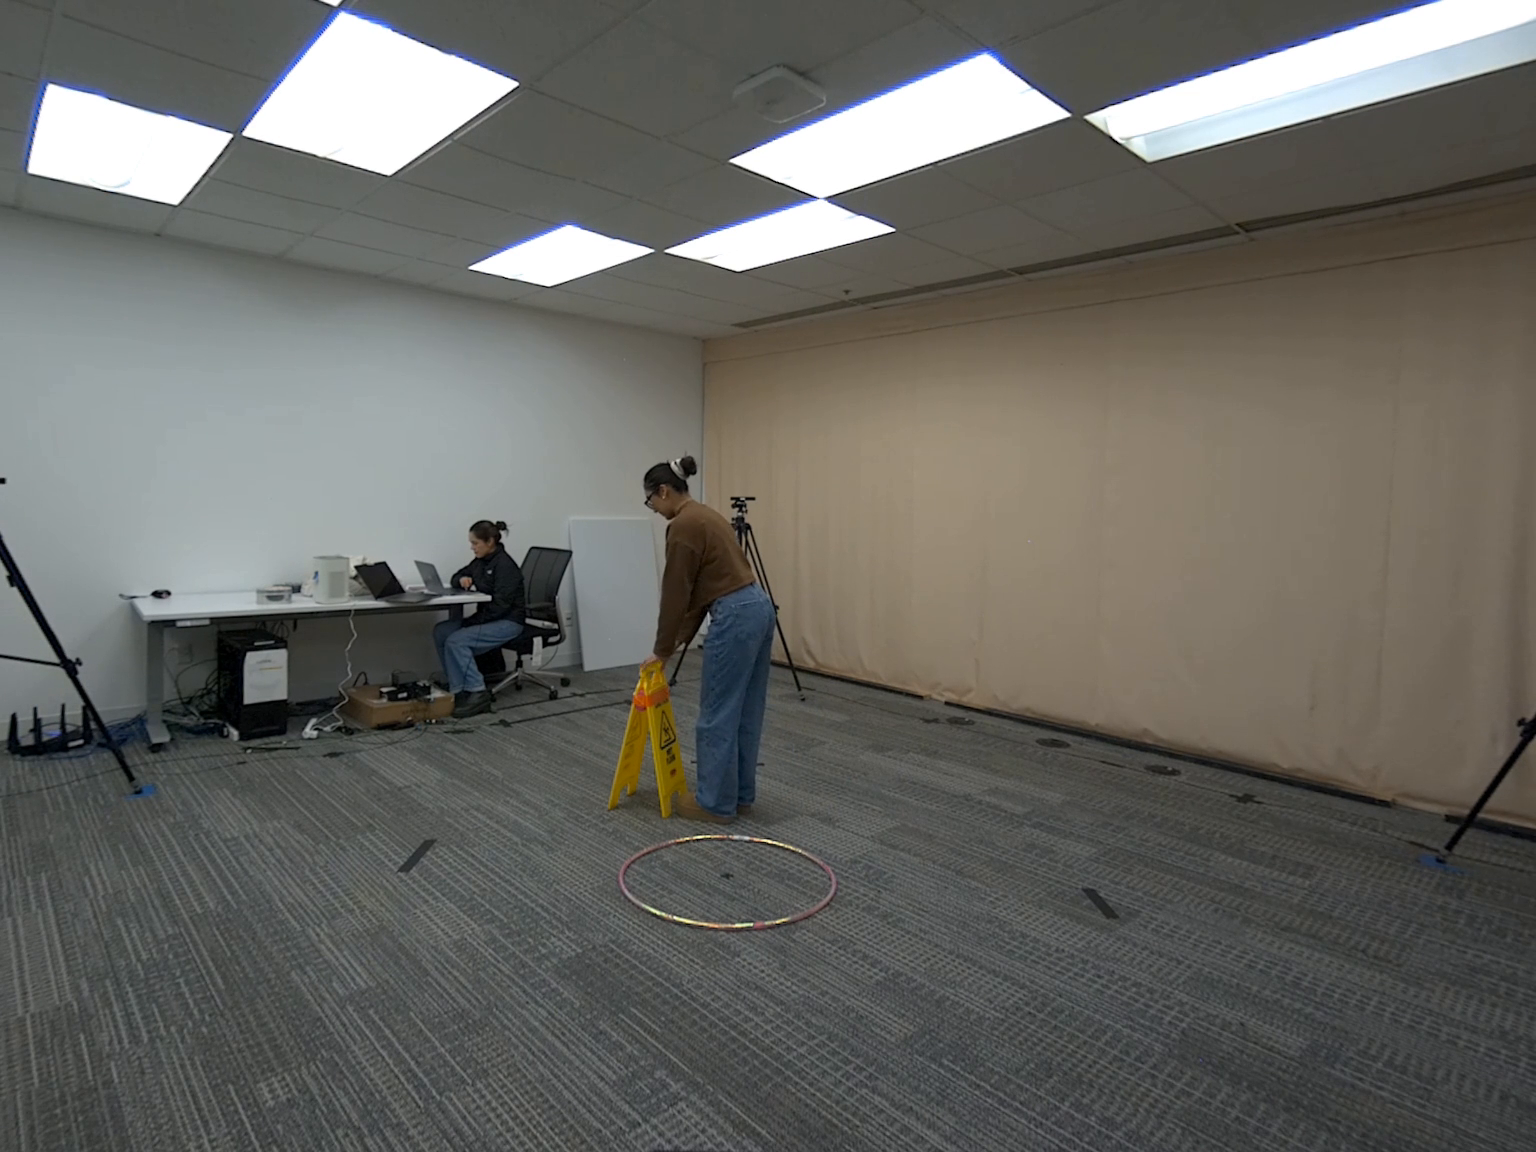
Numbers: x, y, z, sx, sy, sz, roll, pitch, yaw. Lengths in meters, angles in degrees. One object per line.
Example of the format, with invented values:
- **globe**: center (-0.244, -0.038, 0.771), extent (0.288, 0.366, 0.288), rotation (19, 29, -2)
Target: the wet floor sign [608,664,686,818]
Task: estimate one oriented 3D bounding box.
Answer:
- **wet floor sign**: center (-0.536, 0.705, 3.802), extent (0.294, 0.645, 0.278), rotation (2, 2, 17)
